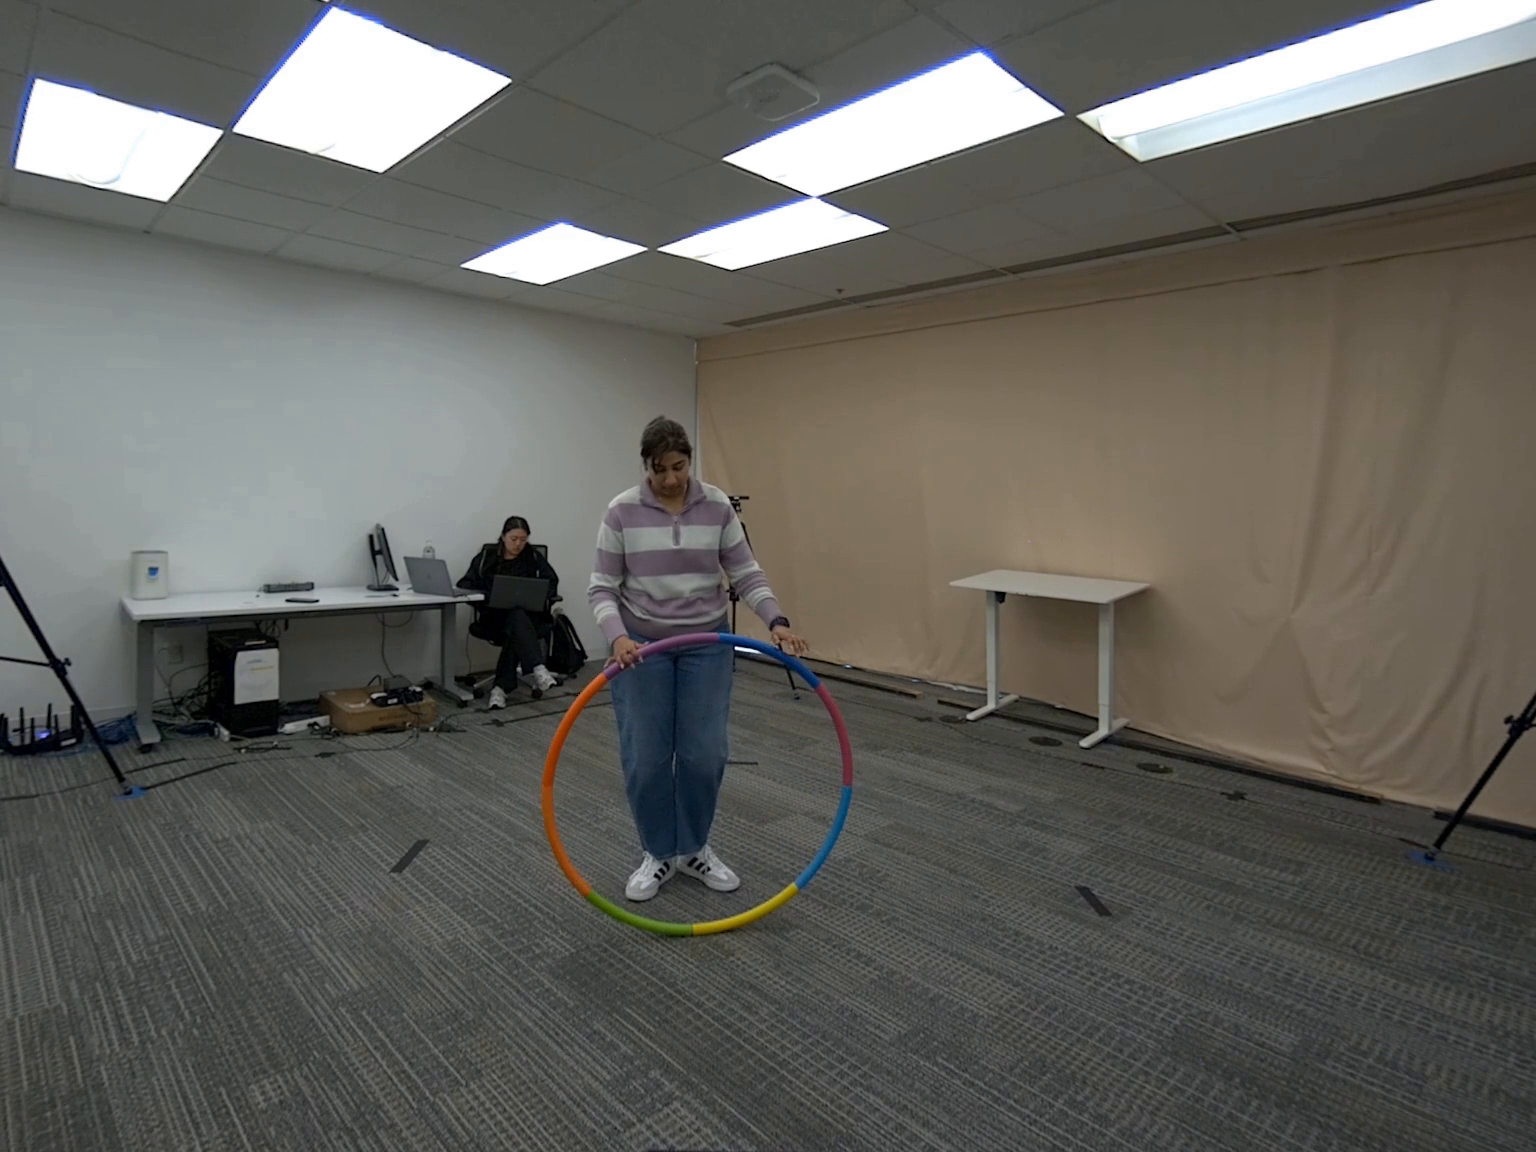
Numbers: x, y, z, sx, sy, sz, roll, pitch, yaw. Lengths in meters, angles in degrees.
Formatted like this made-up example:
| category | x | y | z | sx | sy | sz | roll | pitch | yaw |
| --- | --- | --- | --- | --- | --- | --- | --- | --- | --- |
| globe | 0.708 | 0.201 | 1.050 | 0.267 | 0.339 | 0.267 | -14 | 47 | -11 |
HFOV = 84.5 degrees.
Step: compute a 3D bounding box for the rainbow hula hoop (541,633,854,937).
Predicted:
| category | x | y | z | sx | sy | sz | roll | pitch | yaw |
| --- | --- | --- | --- | --- | --- | --- | --- | --- | --- |
| rainbow hula hoop | -0.202 | 0.663 | 2.652 | 0.975 | 0.983 | 0.052 | 0 | 3 | -13 |
